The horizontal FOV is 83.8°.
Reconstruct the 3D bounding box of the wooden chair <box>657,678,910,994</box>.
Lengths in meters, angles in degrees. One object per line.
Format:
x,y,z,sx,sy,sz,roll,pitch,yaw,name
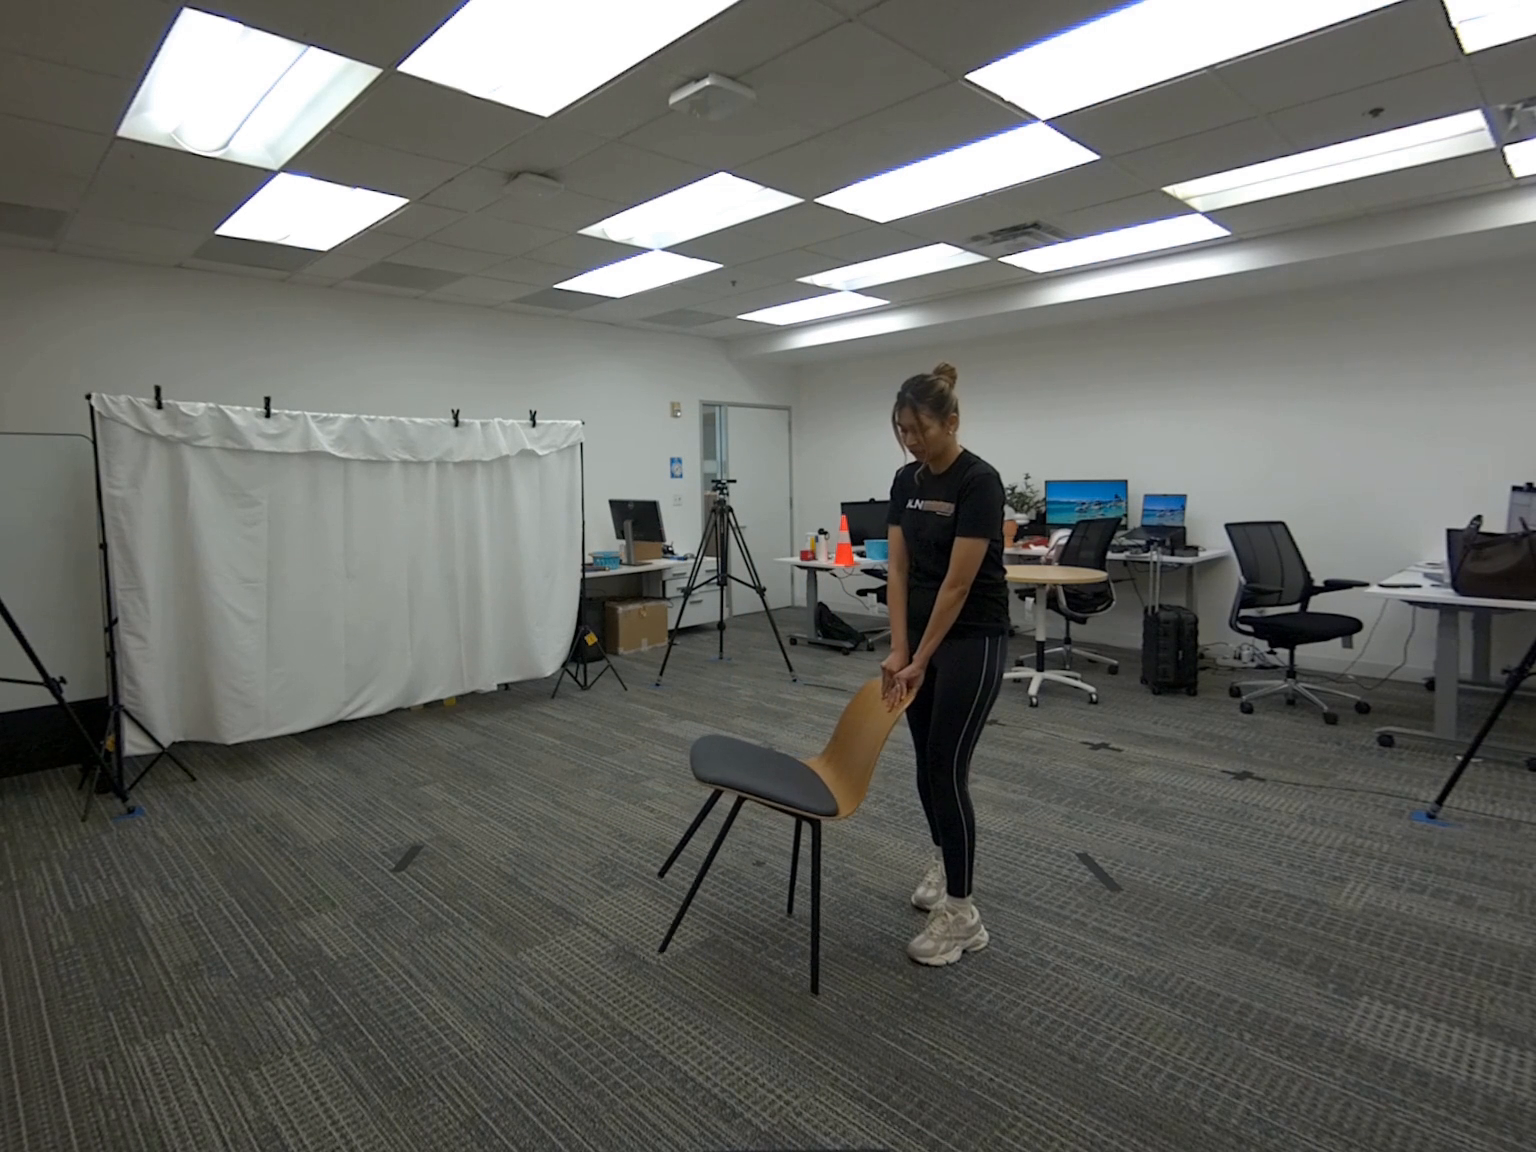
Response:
0.022,0.639,2.491,0.519,0.876,0.482,22,2,-7,wooden chair
